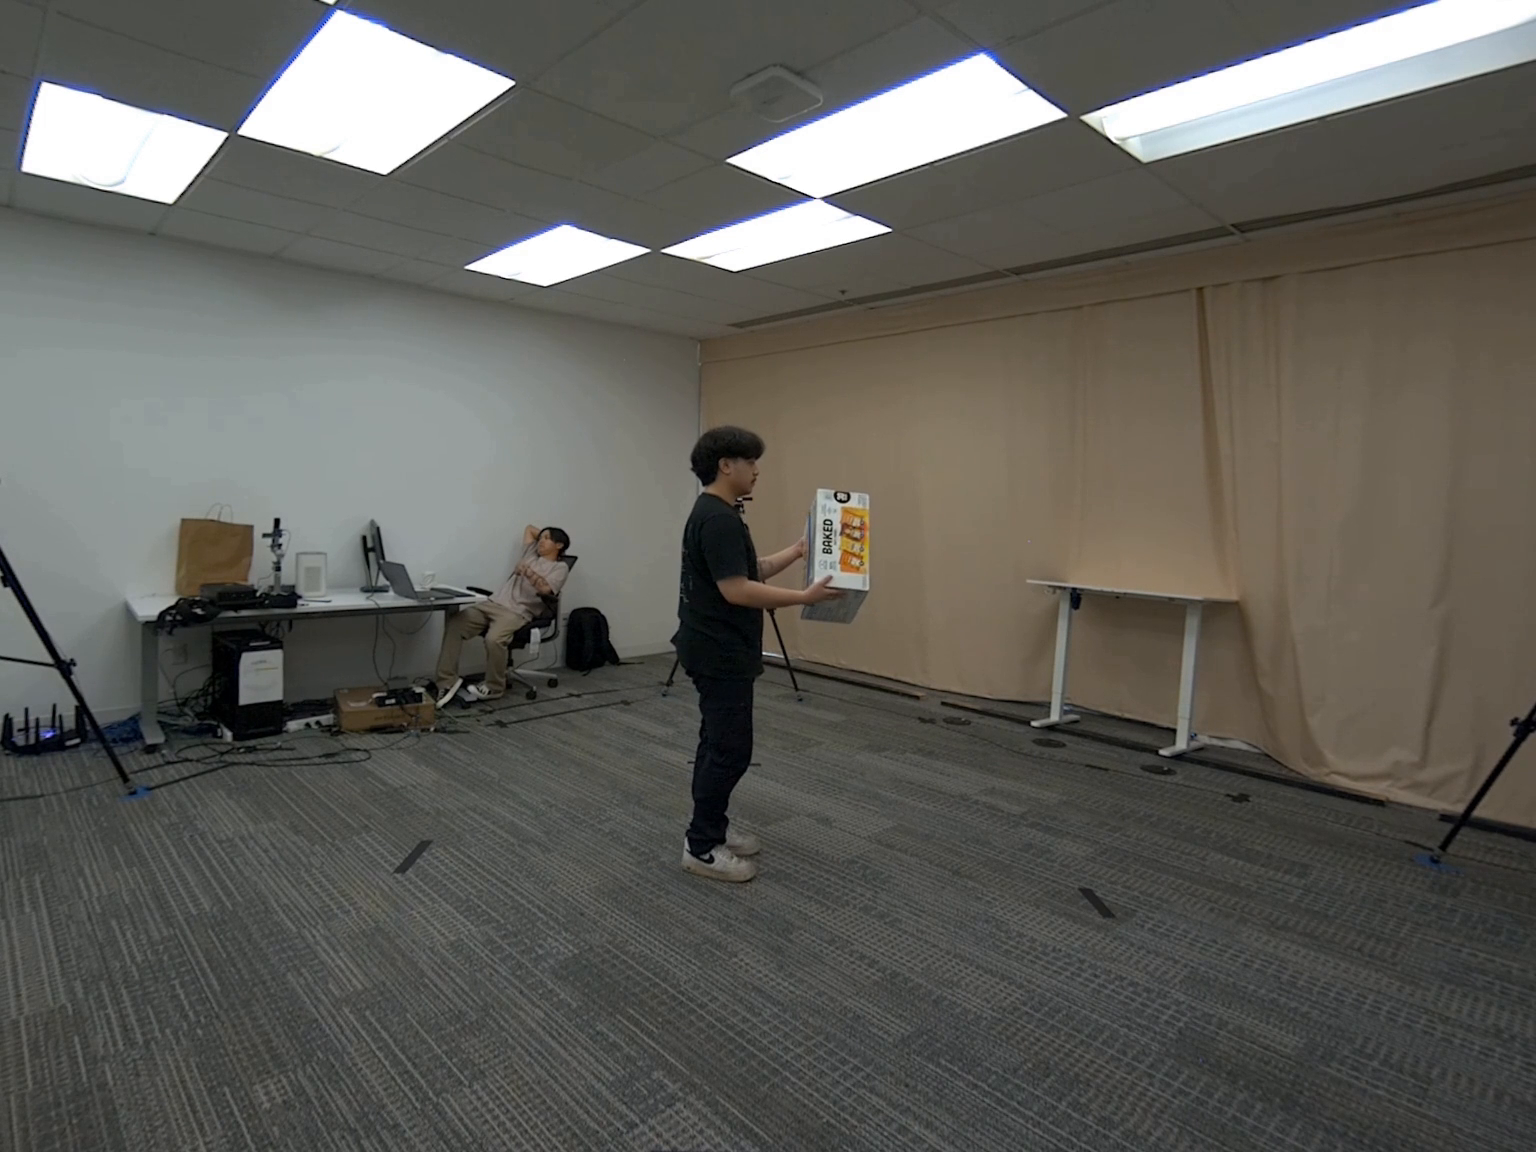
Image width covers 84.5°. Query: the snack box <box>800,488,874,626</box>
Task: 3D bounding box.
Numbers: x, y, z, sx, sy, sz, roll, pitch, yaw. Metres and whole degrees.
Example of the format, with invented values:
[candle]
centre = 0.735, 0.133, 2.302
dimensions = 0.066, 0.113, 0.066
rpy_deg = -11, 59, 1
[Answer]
[snack box]
centre = 0.259, -0.069, 3.263
dimensions = 0.205, 0.412, 0.336
rpy_deg = 5, -26, -5
